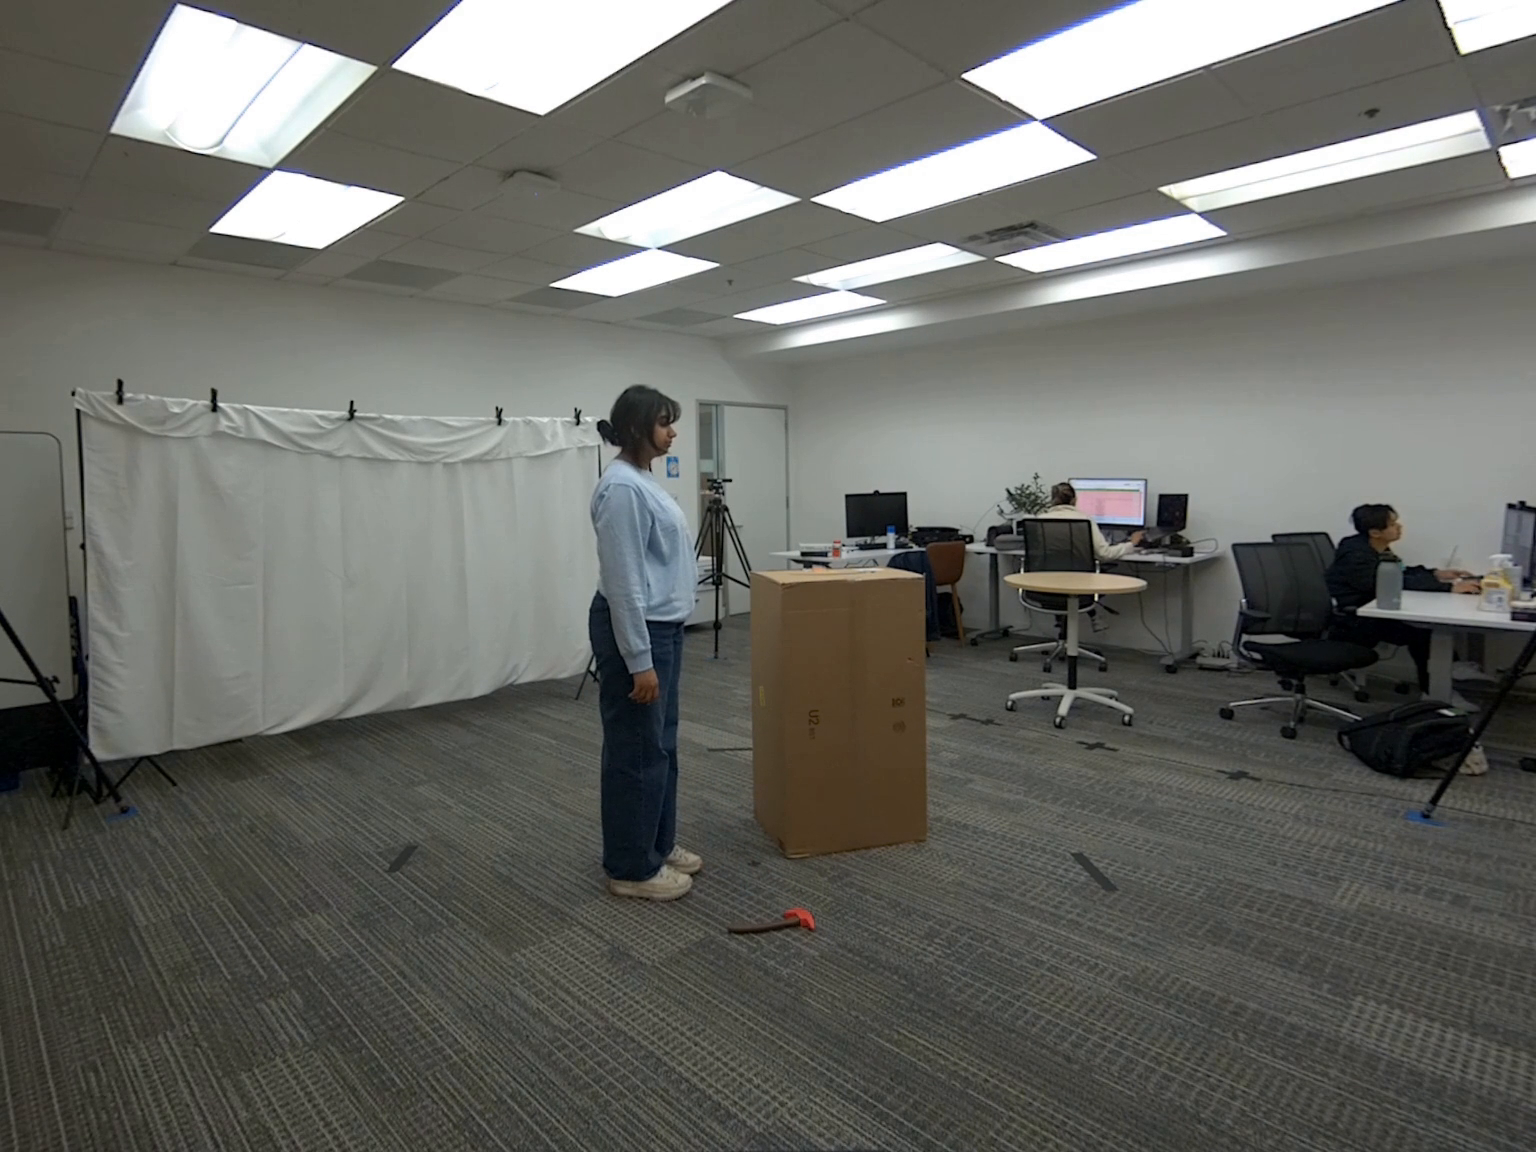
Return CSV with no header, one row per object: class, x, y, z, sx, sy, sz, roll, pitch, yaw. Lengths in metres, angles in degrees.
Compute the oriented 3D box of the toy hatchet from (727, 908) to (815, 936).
toy hatchet,0.010,1.084,2.688,0.270,0.029,0.132,-3,7,0
